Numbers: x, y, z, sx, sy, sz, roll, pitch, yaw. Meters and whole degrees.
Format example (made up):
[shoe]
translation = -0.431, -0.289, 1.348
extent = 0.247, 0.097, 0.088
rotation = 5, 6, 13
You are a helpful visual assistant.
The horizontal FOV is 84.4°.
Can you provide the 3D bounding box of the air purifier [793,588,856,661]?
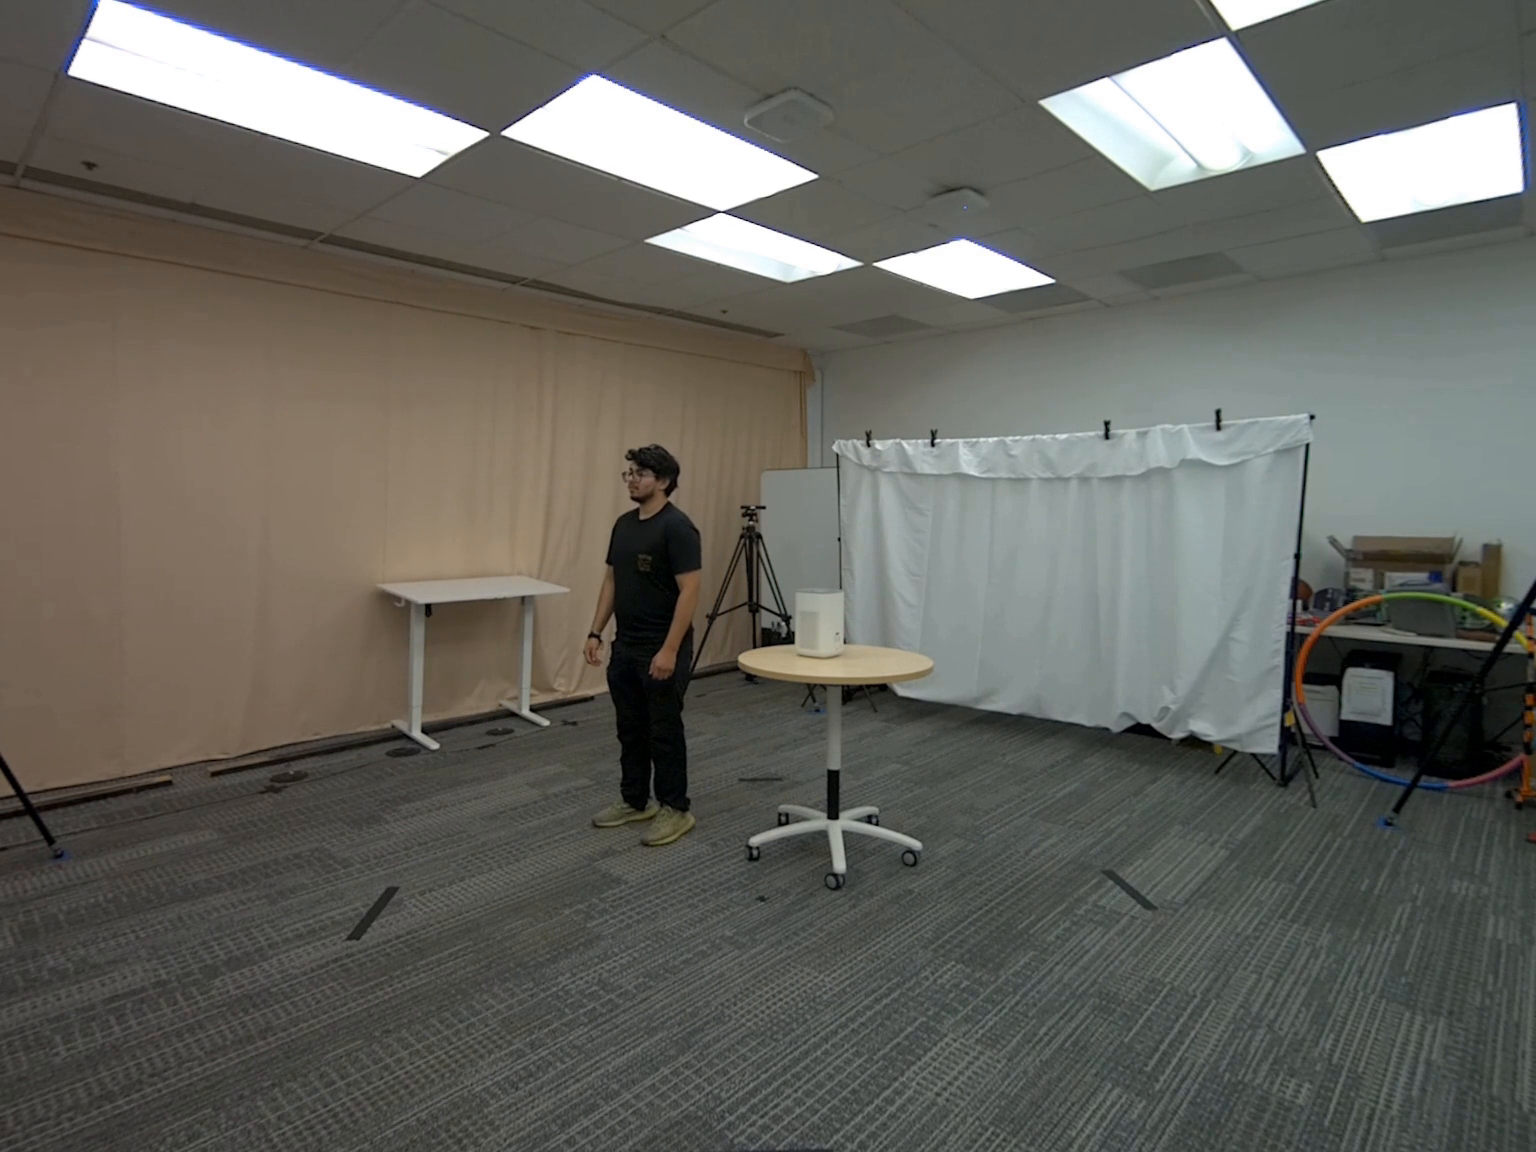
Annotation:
[air purifier]
translation = 0.226, 0.189, 3.420
extent = 0.179, 0.262, 0.163
rotation = 4, 3, 39
